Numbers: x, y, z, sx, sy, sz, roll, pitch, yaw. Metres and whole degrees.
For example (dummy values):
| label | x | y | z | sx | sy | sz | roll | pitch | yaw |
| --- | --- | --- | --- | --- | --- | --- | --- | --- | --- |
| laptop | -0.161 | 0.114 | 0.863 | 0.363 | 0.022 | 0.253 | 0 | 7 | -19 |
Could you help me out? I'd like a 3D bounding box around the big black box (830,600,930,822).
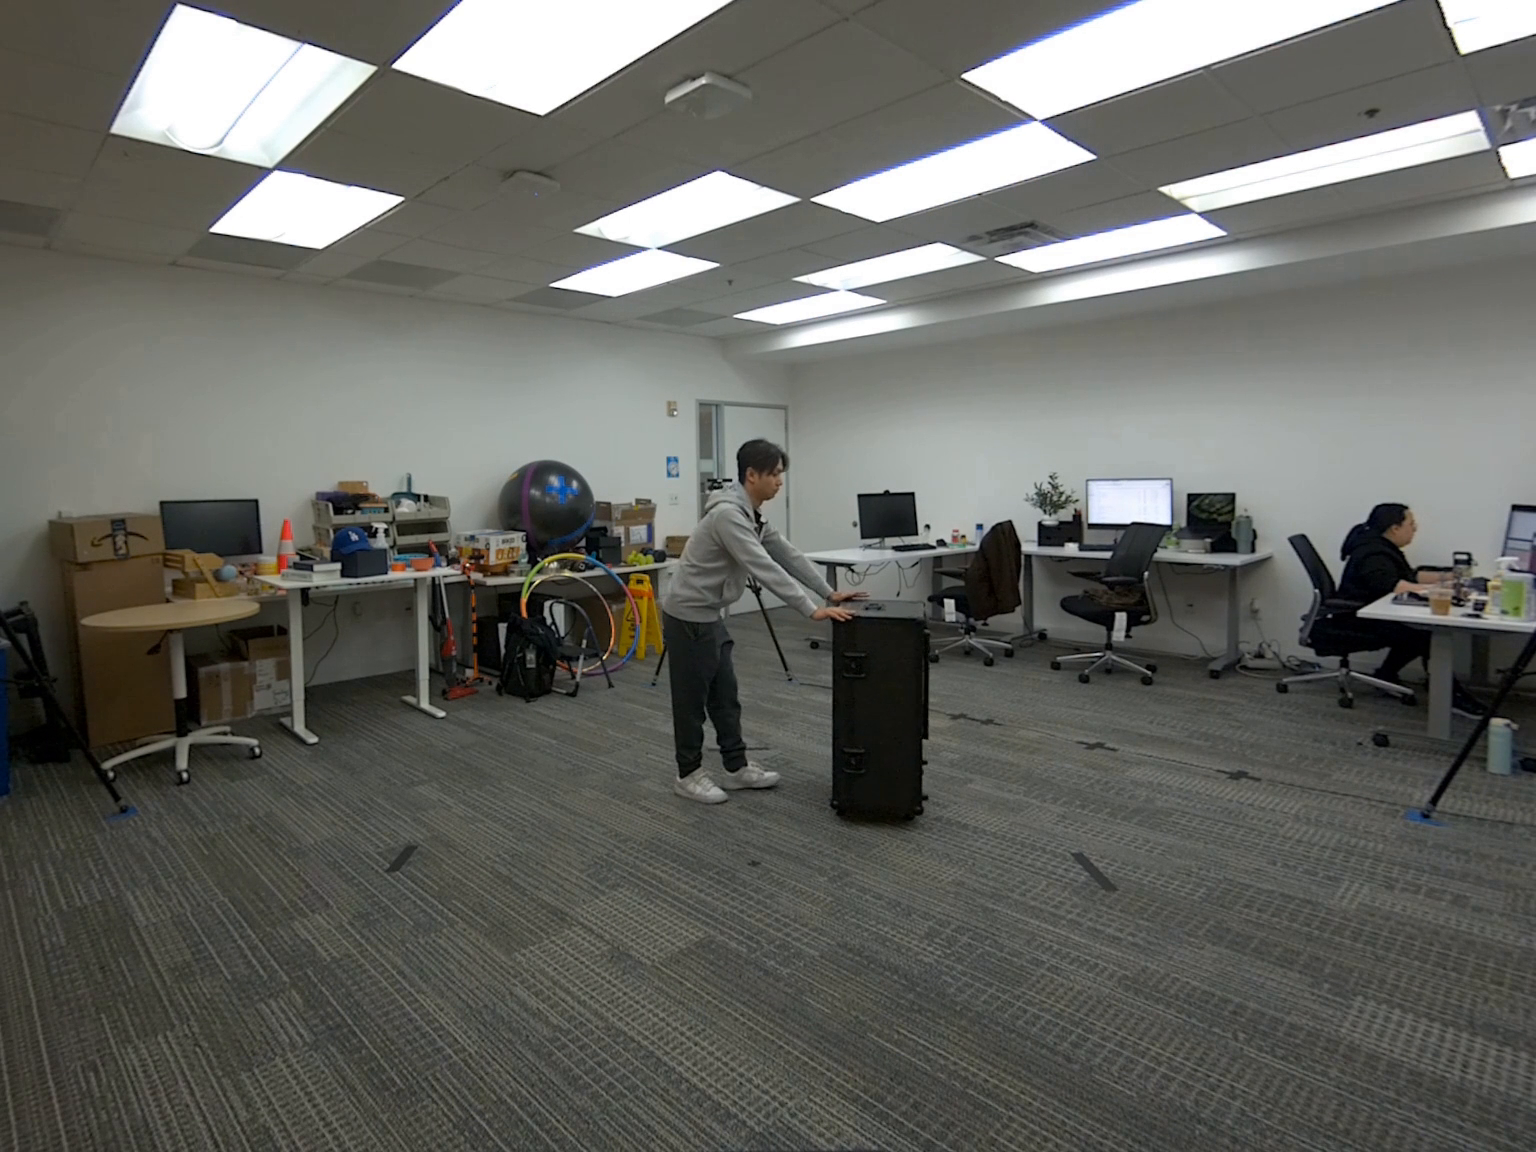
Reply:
| label | x | y | z | sx | sy | sz | roll | pitch | yaw |
| --- | --- | --- | --- | --- | --- | --- | --- | --- | --- |
| big black box | 0.484 | 0.561 | 3.598 | 0.401 | 0.858 | 0.516 | 1 | 4 | 12 |
